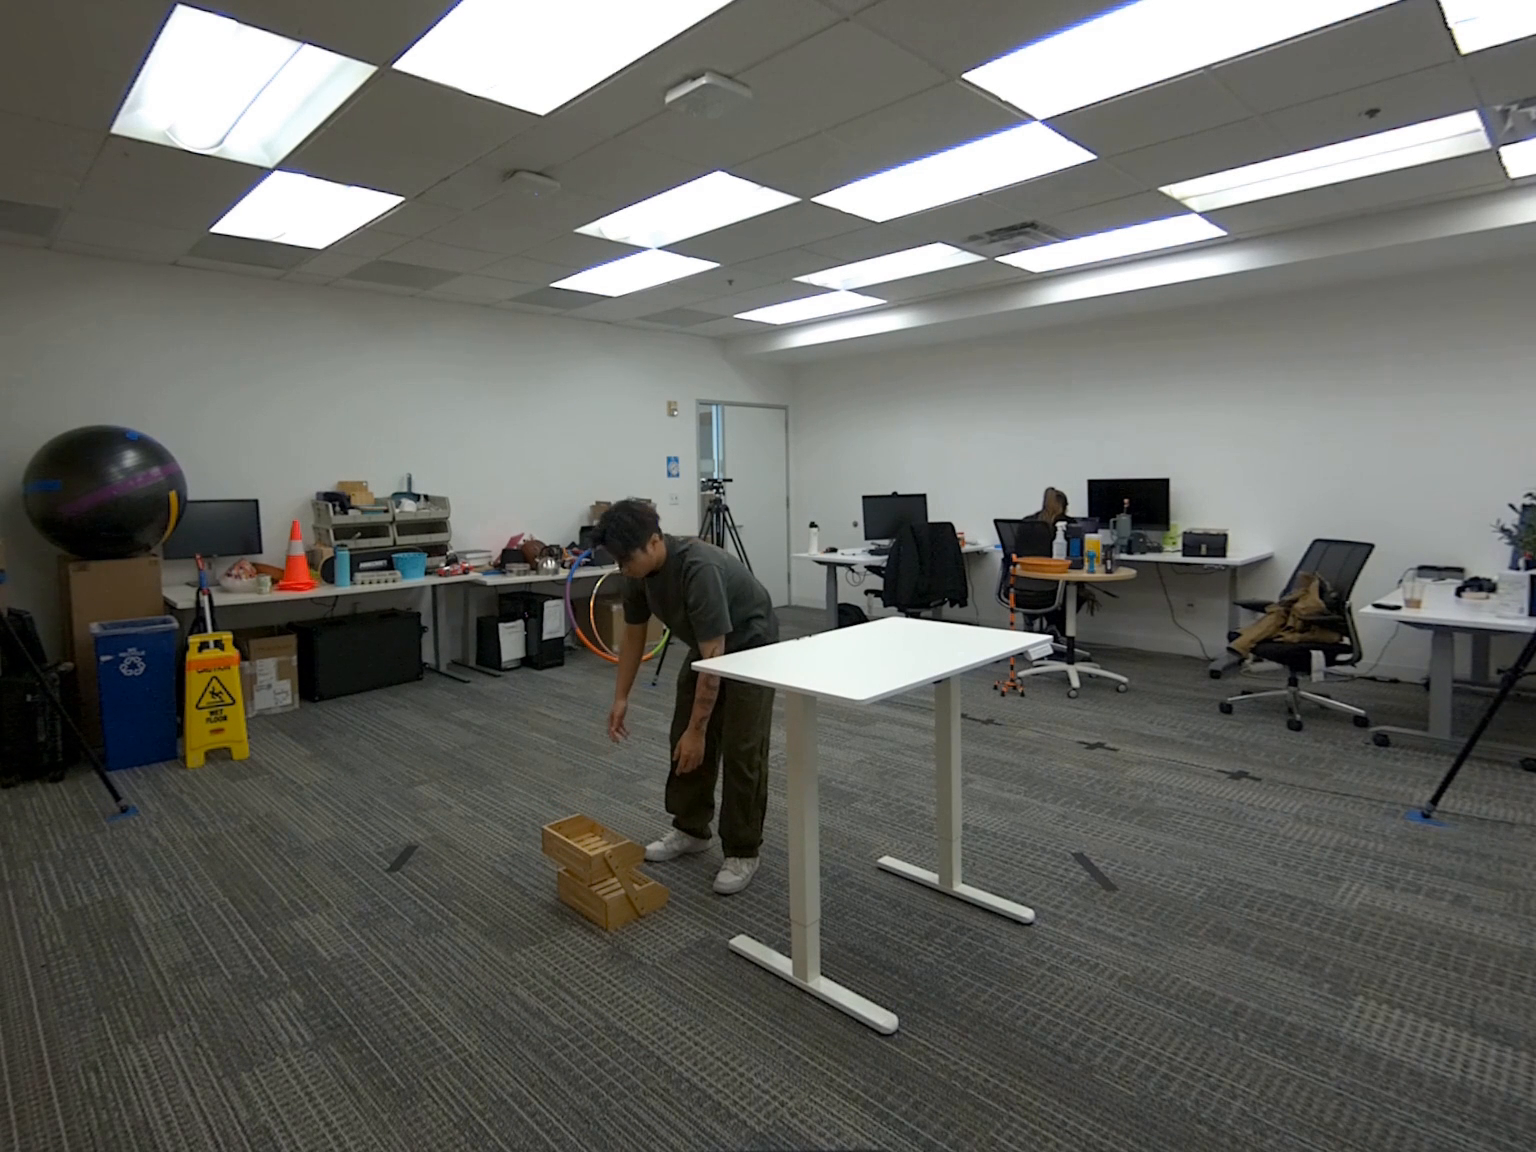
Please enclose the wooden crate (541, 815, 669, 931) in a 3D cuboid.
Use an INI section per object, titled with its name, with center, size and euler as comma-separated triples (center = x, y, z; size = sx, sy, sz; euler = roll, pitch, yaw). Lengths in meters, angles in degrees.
[wooden crate]
center = -0.534, 0.952, 2.828
size = 0.294, 0.272, 0.334
euler = -6, 8, -43
